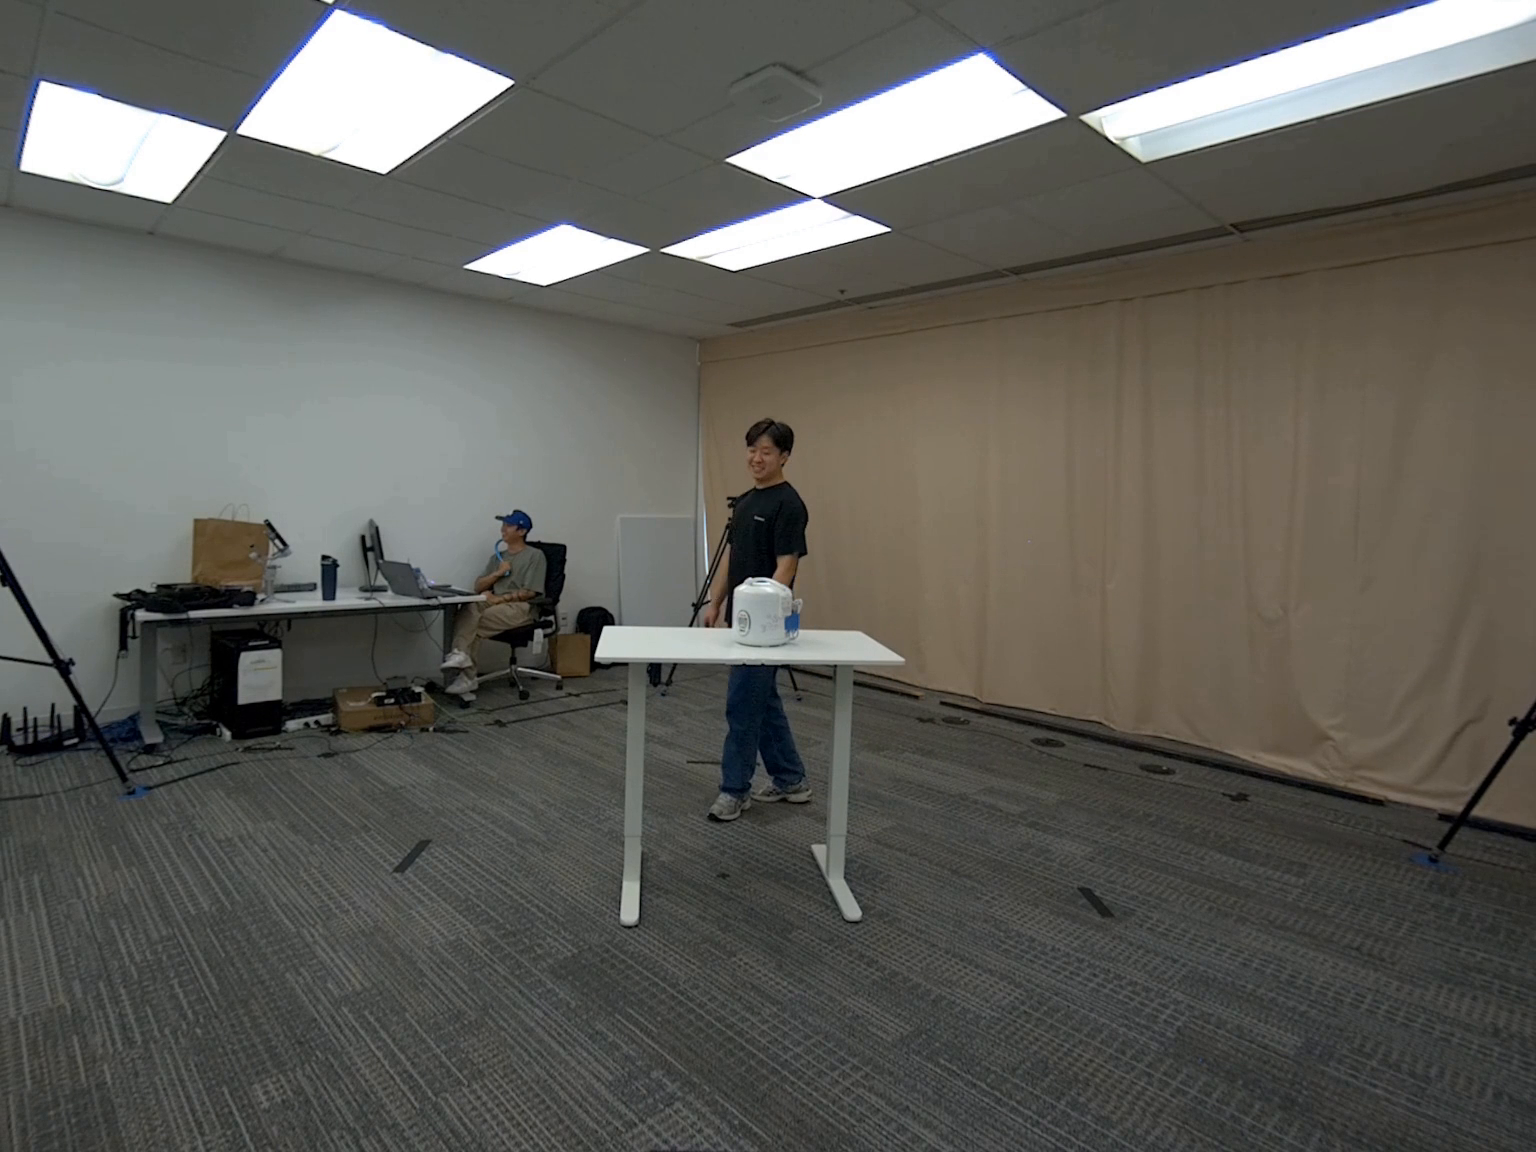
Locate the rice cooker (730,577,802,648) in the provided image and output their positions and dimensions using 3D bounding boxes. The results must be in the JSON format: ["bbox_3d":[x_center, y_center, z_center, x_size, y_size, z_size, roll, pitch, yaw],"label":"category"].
[{"bbox_3d":[-0.030,0.125,2.972,0.226,0.232,0.212,5,4,37],"label":"rice cooker"}]
